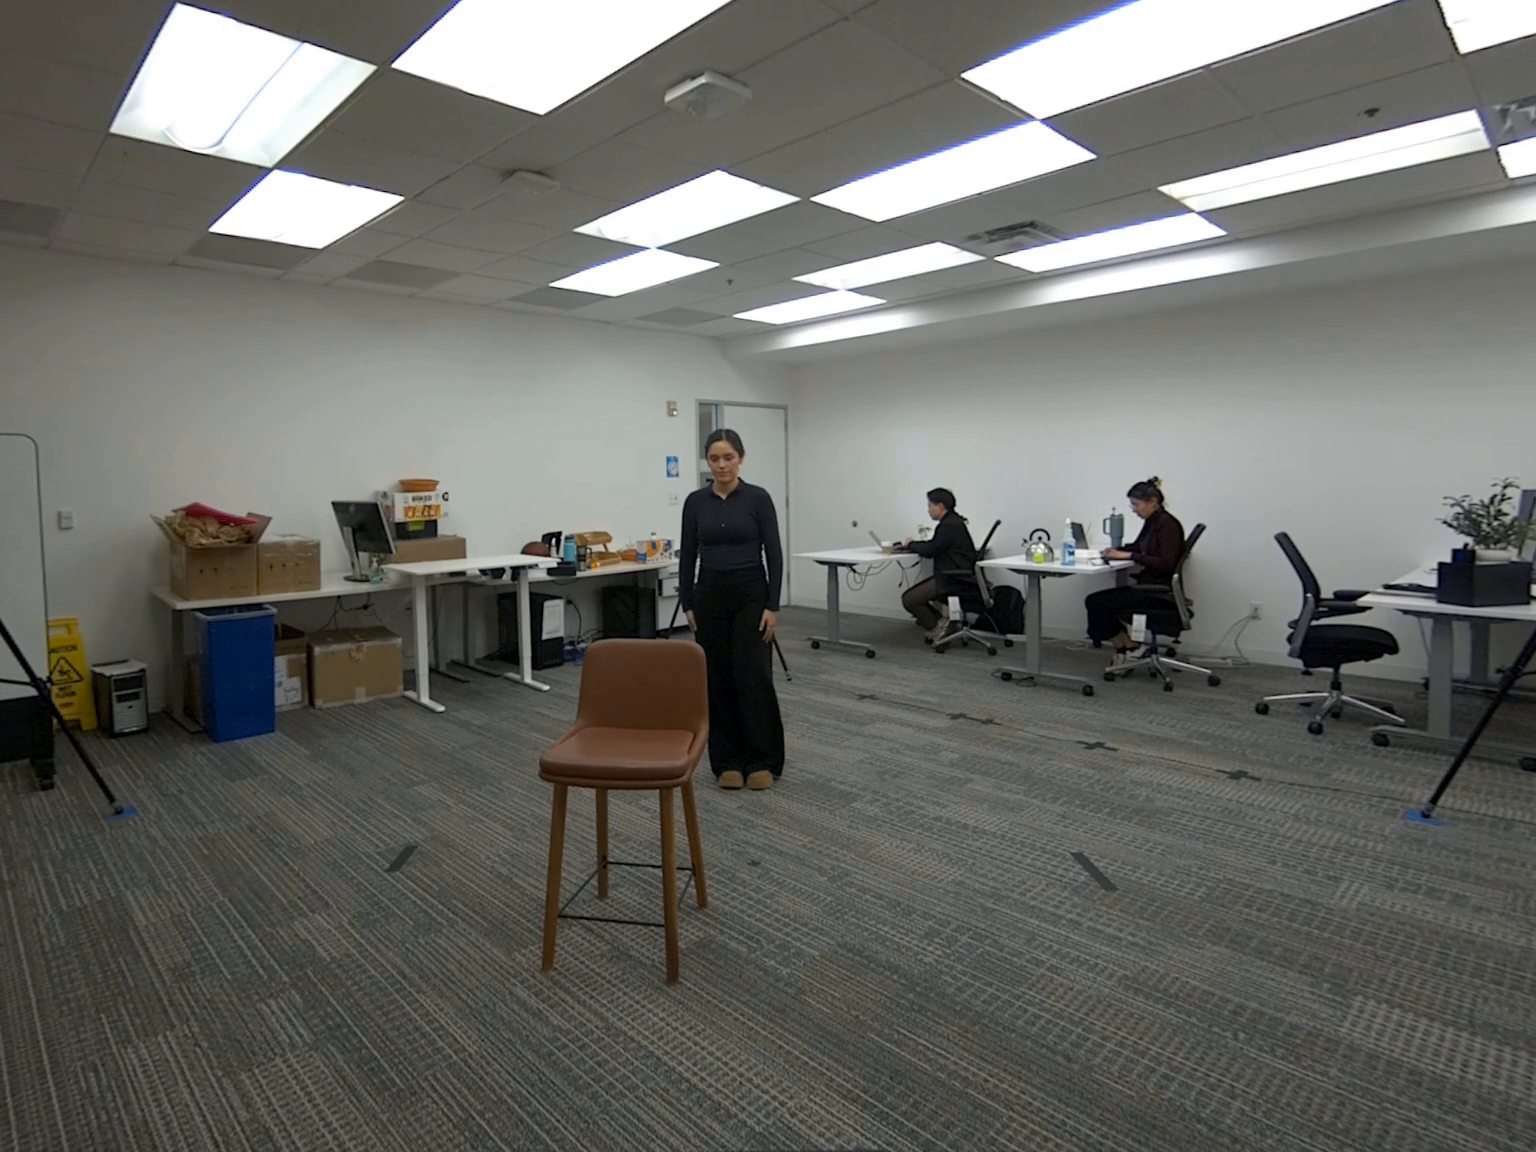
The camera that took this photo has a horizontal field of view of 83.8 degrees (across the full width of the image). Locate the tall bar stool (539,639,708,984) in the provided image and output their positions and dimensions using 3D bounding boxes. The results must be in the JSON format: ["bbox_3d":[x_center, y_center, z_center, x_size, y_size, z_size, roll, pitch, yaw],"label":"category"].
[{"bbox_3d":[-0.423,0.676,2.610,0.462,0.887,0.463,0,3,12],"label":"tall bar stool"}]
